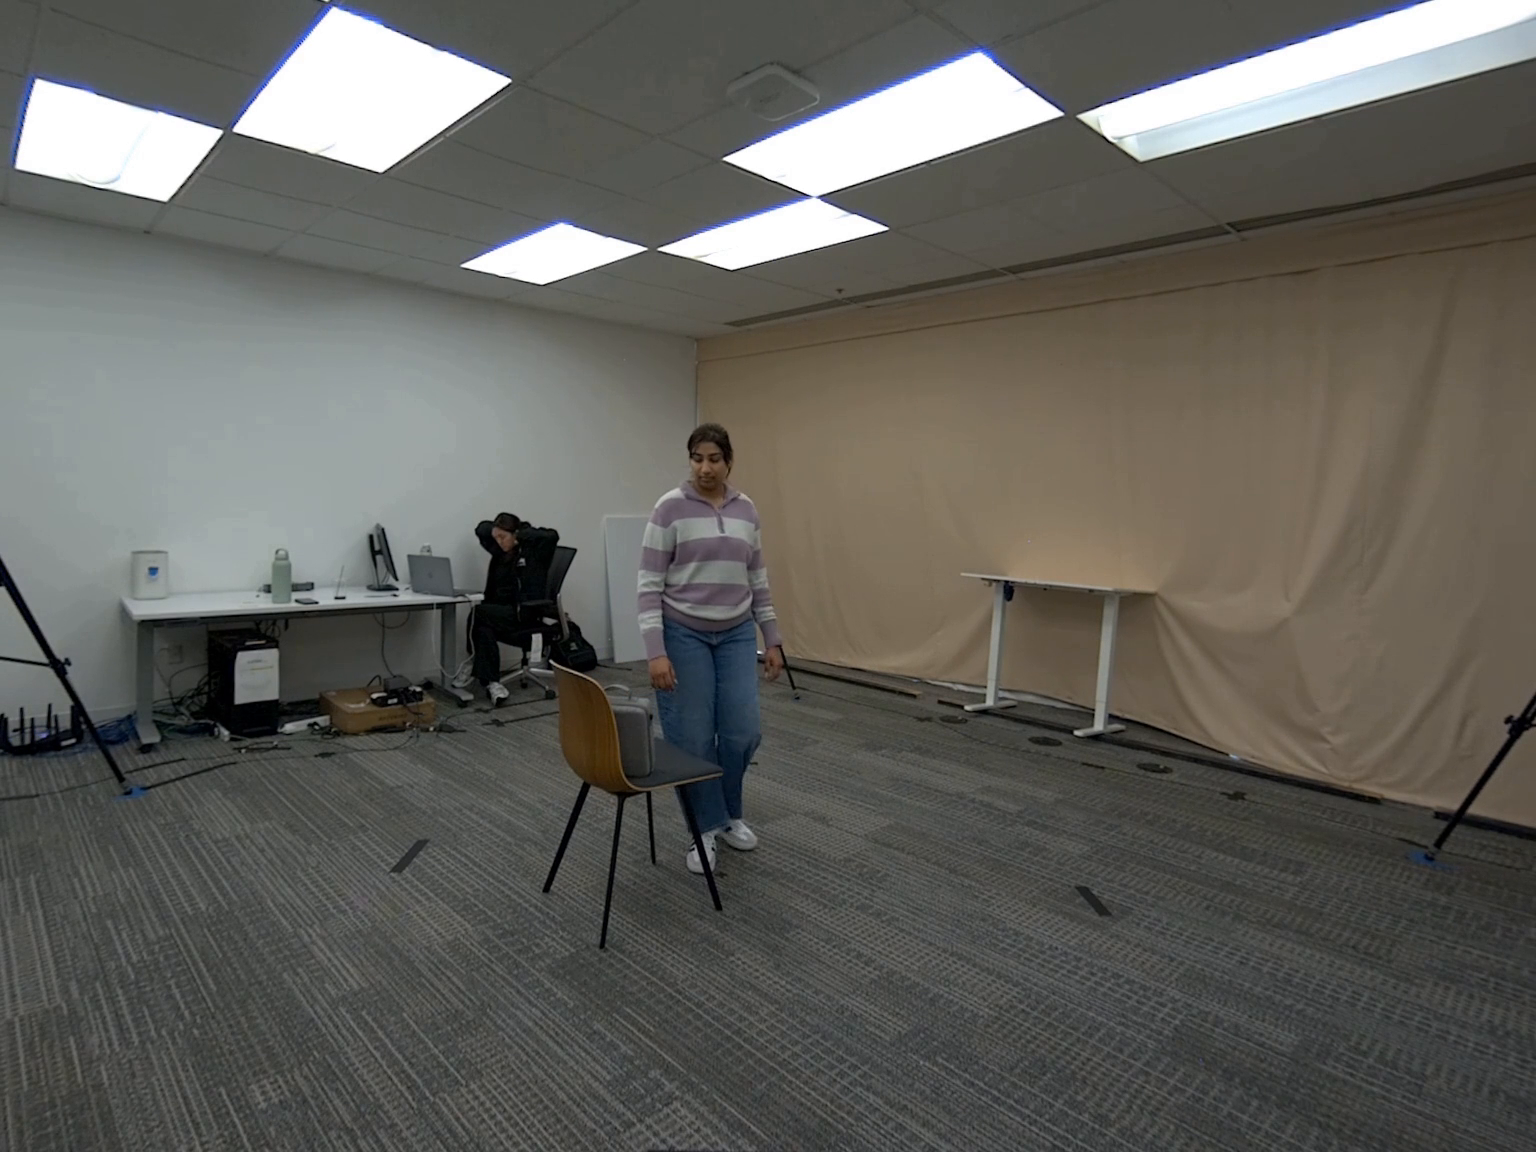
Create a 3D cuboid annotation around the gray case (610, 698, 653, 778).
[{"bbox_3d":[-0.512,0.525,2.757,0.258,0.257,0.105,1,17,6],"label":"gray case"}]
